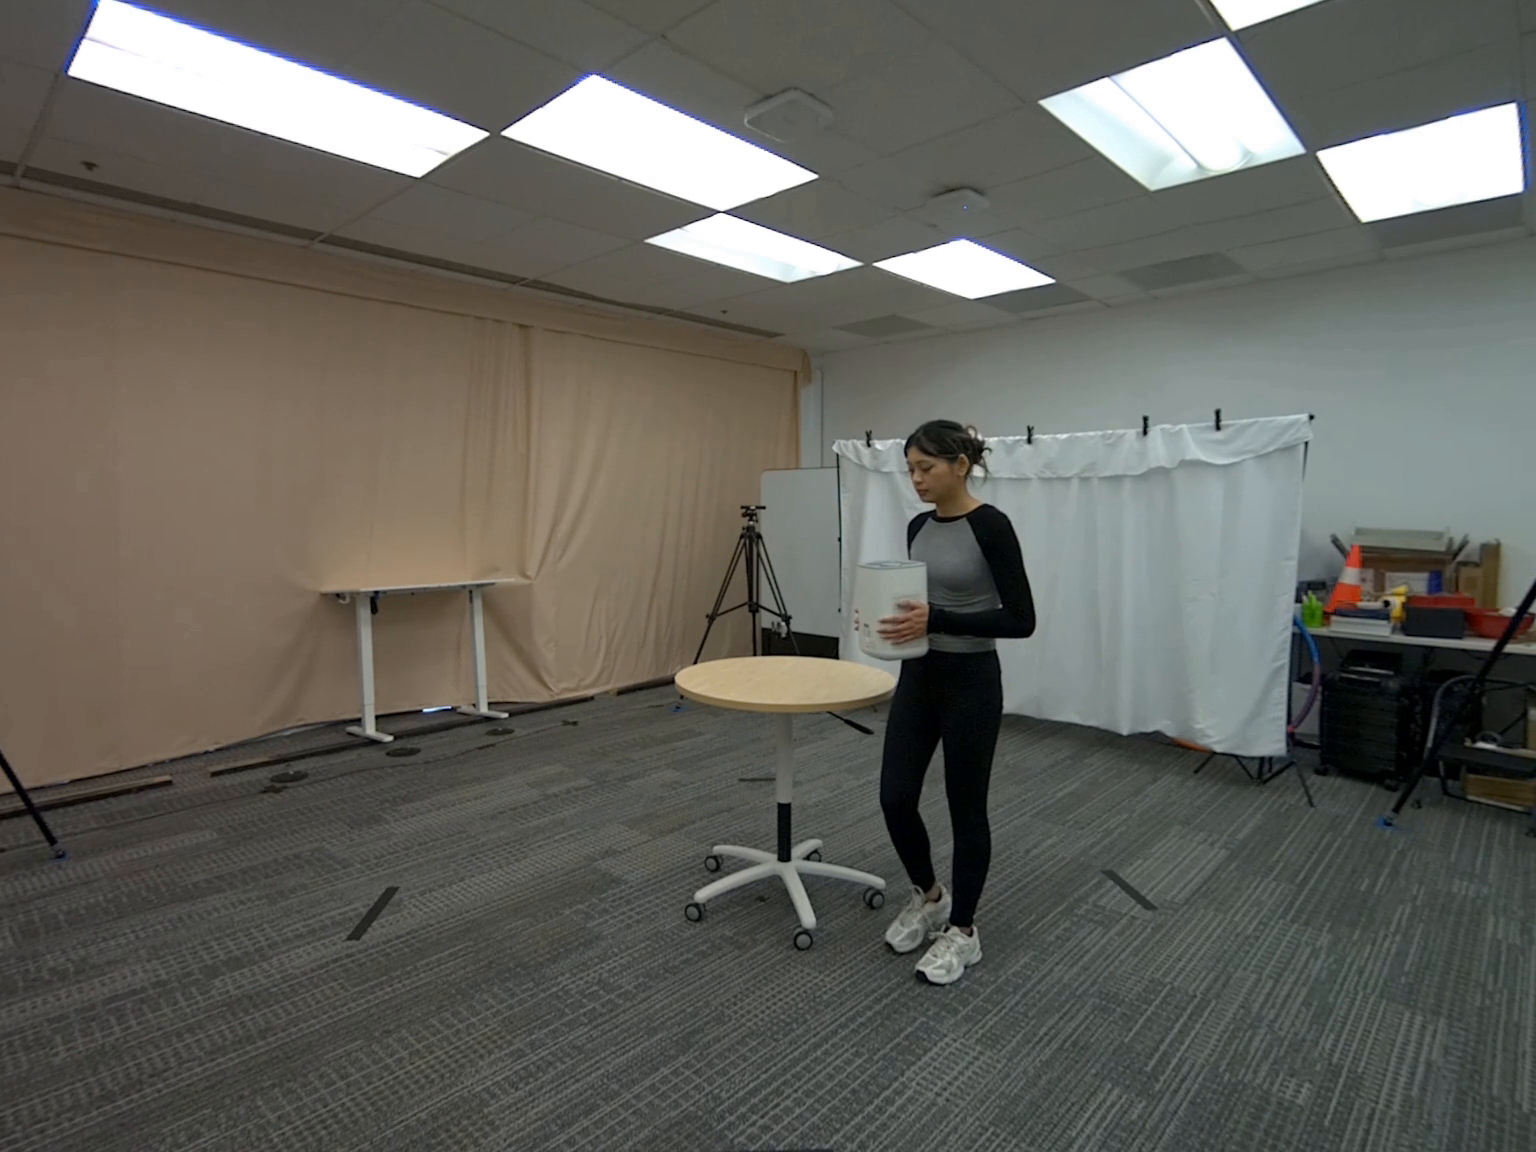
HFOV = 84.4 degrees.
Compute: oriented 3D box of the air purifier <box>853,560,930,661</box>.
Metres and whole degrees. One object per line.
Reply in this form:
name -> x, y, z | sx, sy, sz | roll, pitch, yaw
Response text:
air purifier -> 0.355, 0.100, 2.419 | 0.168, 0.265, 0.174 | -3, 4, -18
